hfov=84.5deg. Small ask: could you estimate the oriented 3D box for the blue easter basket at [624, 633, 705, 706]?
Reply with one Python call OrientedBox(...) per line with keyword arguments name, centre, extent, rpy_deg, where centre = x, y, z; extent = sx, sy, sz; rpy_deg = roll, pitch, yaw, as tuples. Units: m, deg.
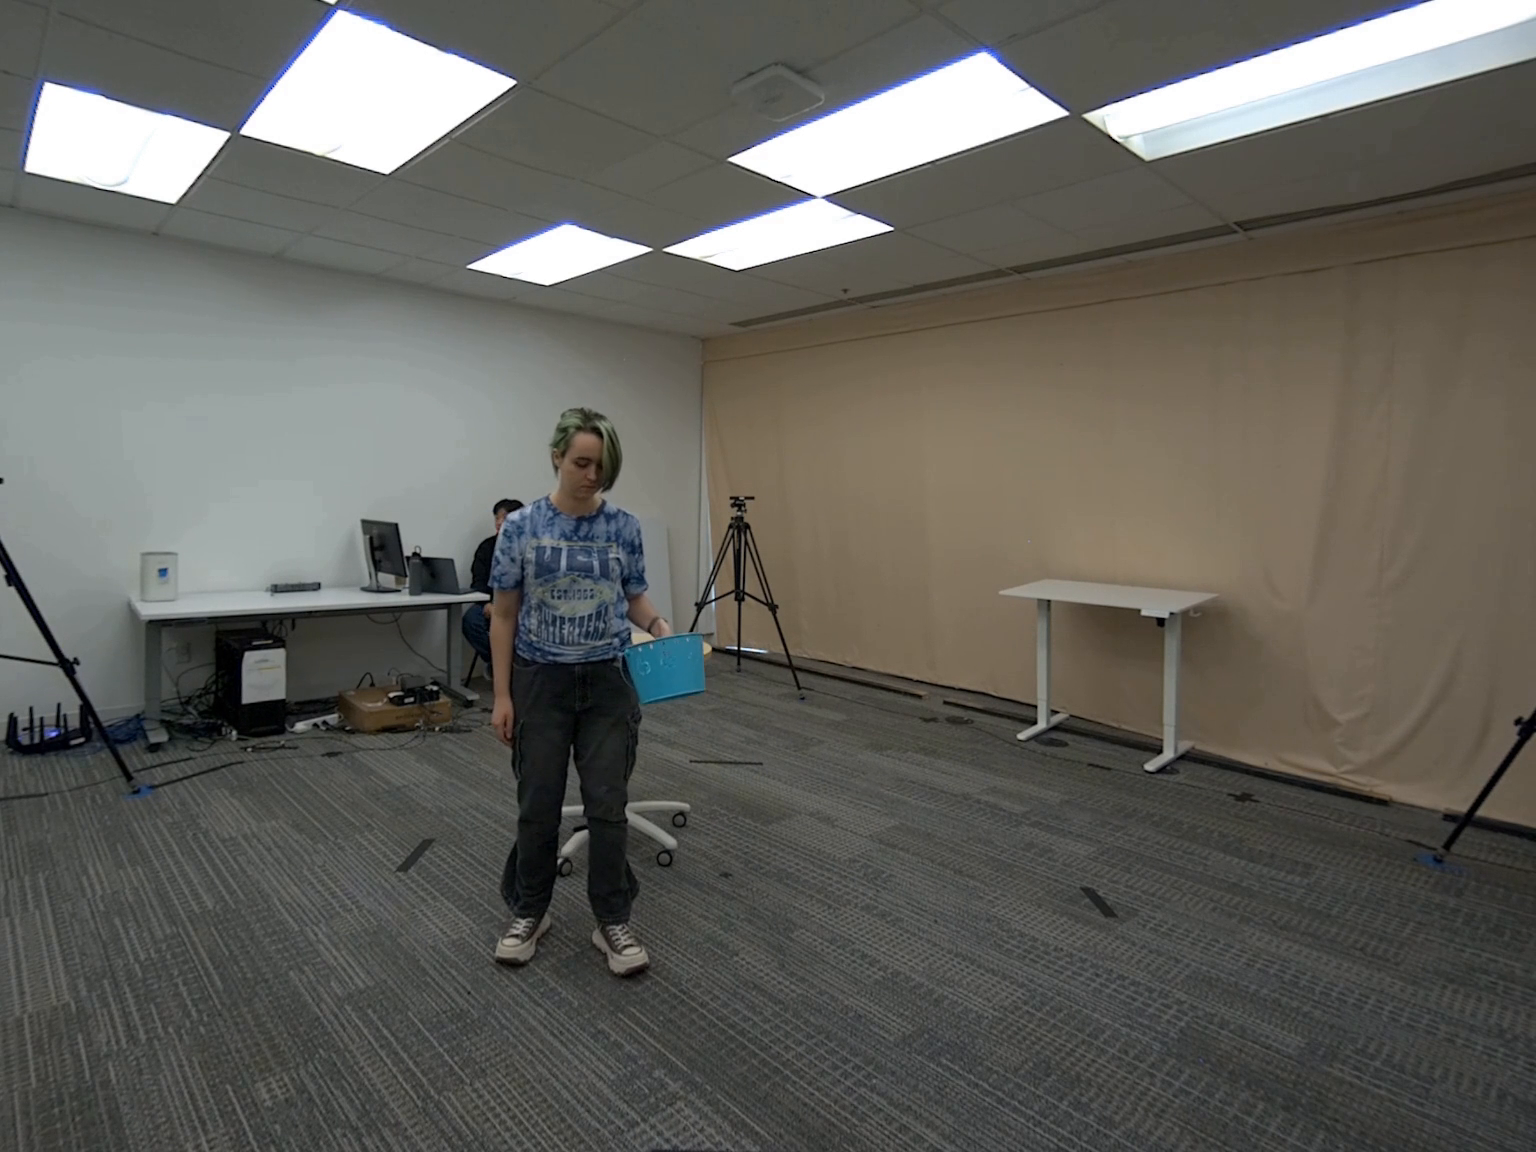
OrientedBox(name="blue easter basket", centre=(-0.284, 0.260, 2.269), extent=(0.243, 0.157, 0.242), rpy_deg=(-10, -9, -3))
